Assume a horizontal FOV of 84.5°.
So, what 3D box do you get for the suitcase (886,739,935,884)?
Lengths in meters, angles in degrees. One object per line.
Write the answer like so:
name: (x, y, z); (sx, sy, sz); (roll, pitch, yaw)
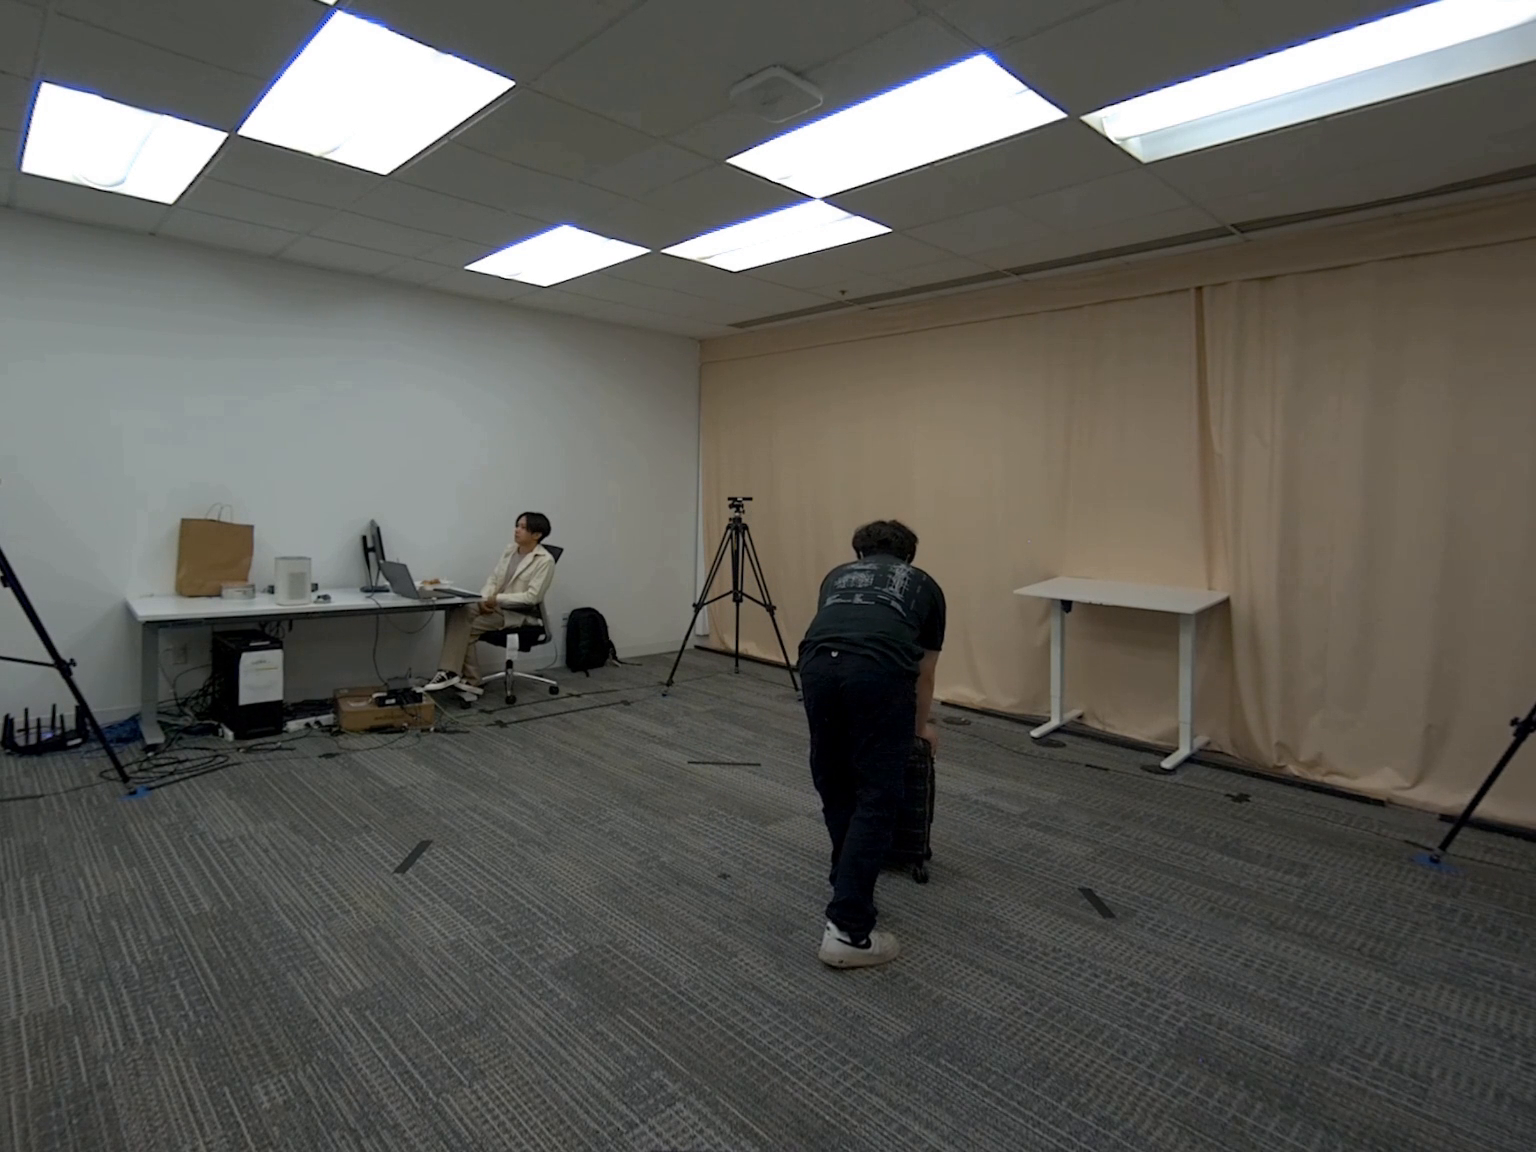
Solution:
suitcase: (0.448, 0.834, 3.243); (0.380, 0.549, 0.245); (2, 2, 14)
